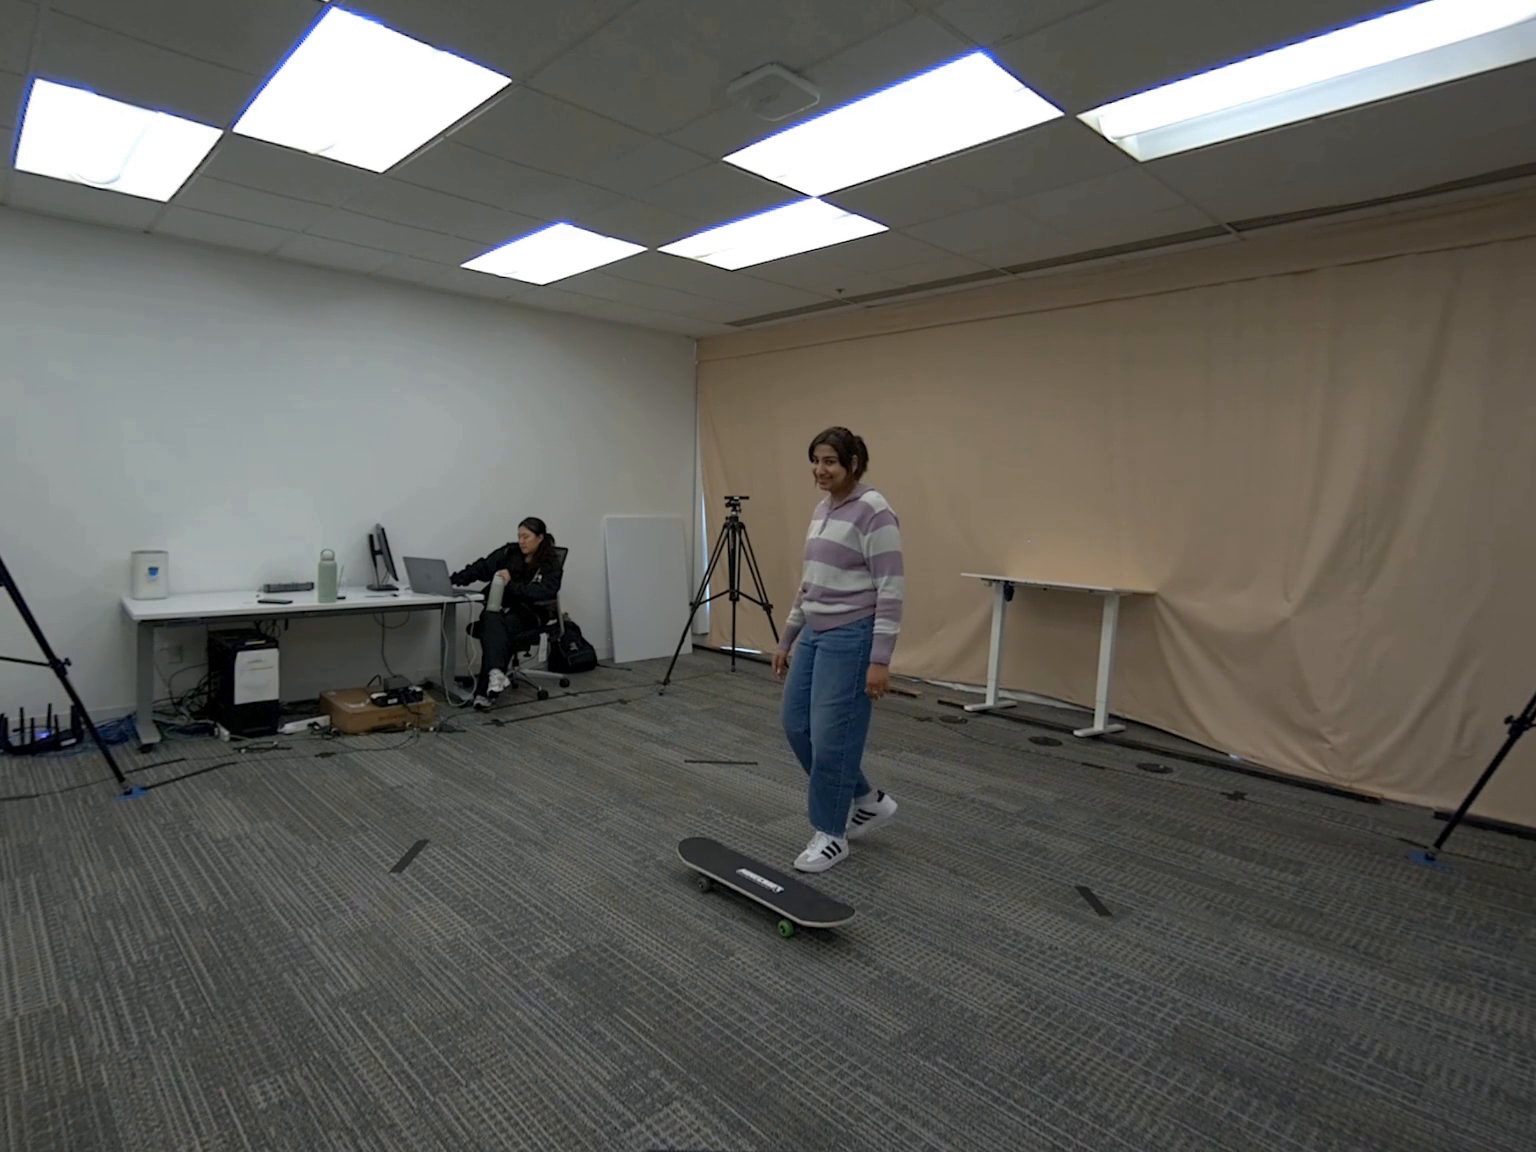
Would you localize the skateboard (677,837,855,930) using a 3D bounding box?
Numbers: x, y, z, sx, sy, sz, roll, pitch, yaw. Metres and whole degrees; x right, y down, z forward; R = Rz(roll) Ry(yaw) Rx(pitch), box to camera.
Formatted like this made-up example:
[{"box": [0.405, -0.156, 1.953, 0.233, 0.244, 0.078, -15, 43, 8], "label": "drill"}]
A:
[{"box": [-0.036, 1.071, 2.875, 0.189, 0.110, 0.806, -3, 7, -44], "label": "skateboard"}]
